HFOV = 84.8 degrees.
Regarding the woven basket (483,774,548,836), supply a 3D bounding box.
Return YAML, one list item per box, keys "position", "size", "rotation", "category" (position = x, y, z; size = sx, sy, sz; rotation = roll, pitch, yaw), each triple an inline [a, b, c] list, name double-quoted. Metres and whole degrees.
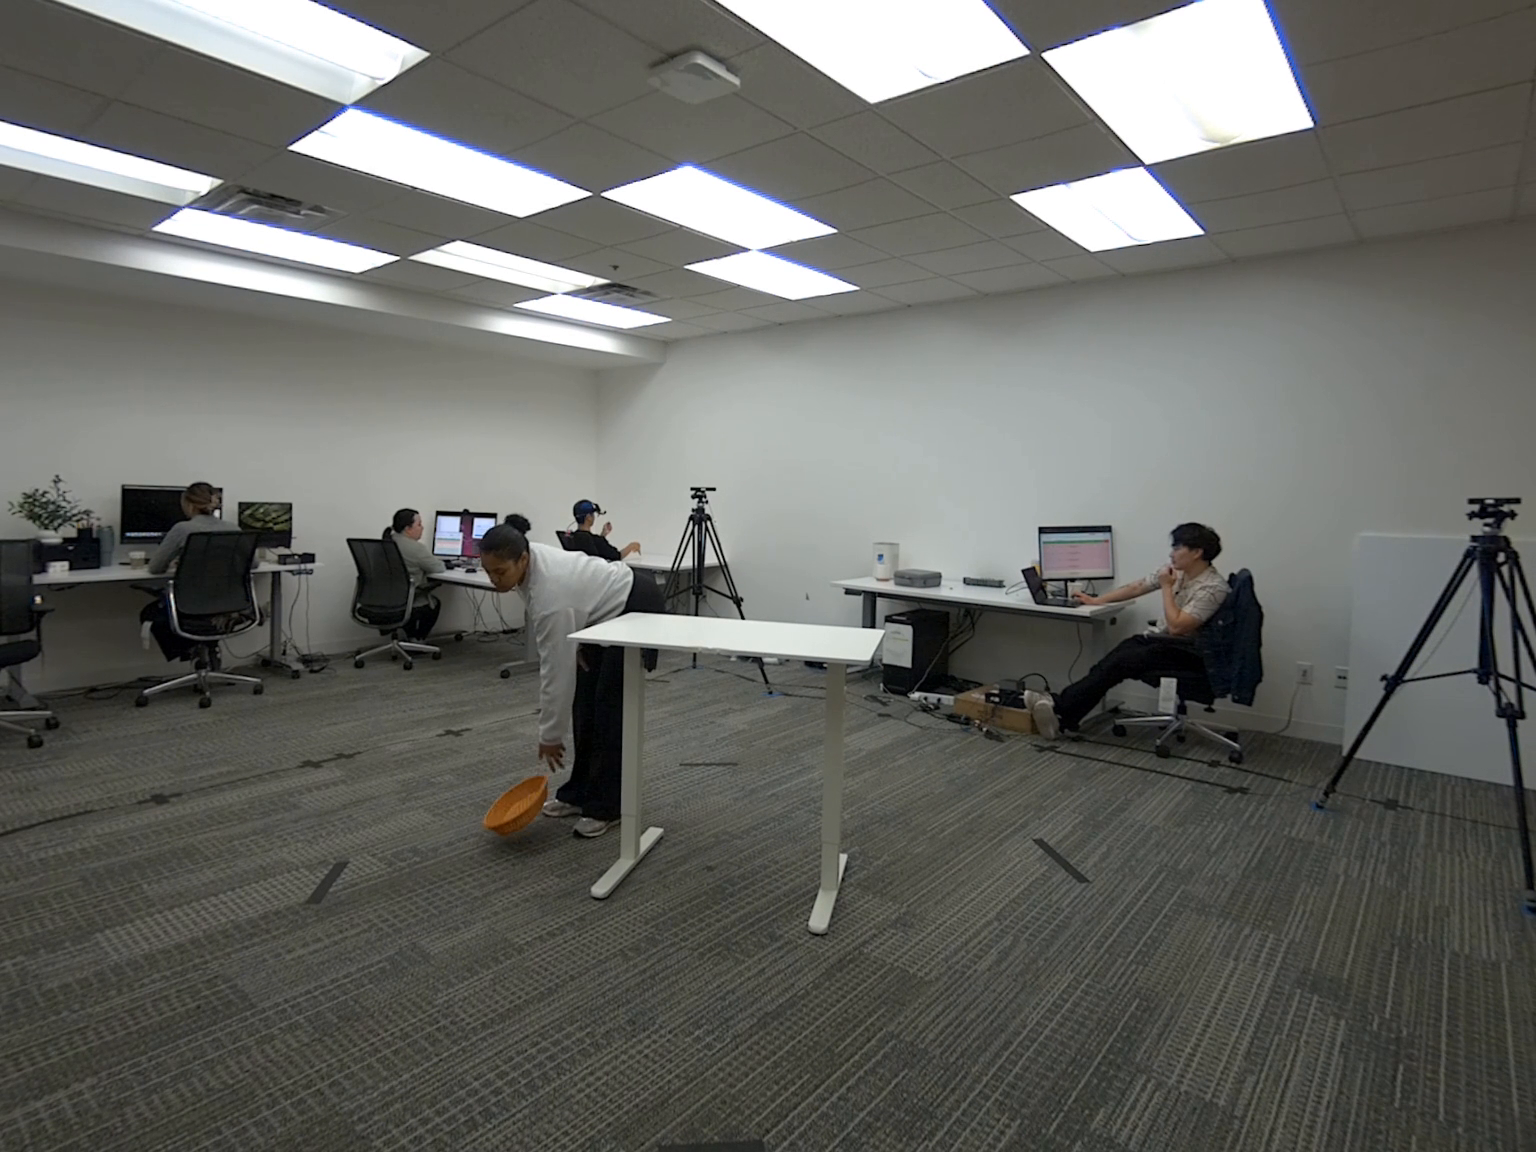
- position: [-0.988, 0.909, 3.323]
  size: [0.255, 0.072, 0.351]
  rotation: [-18, 14, 18]
  category: "woven basket"
